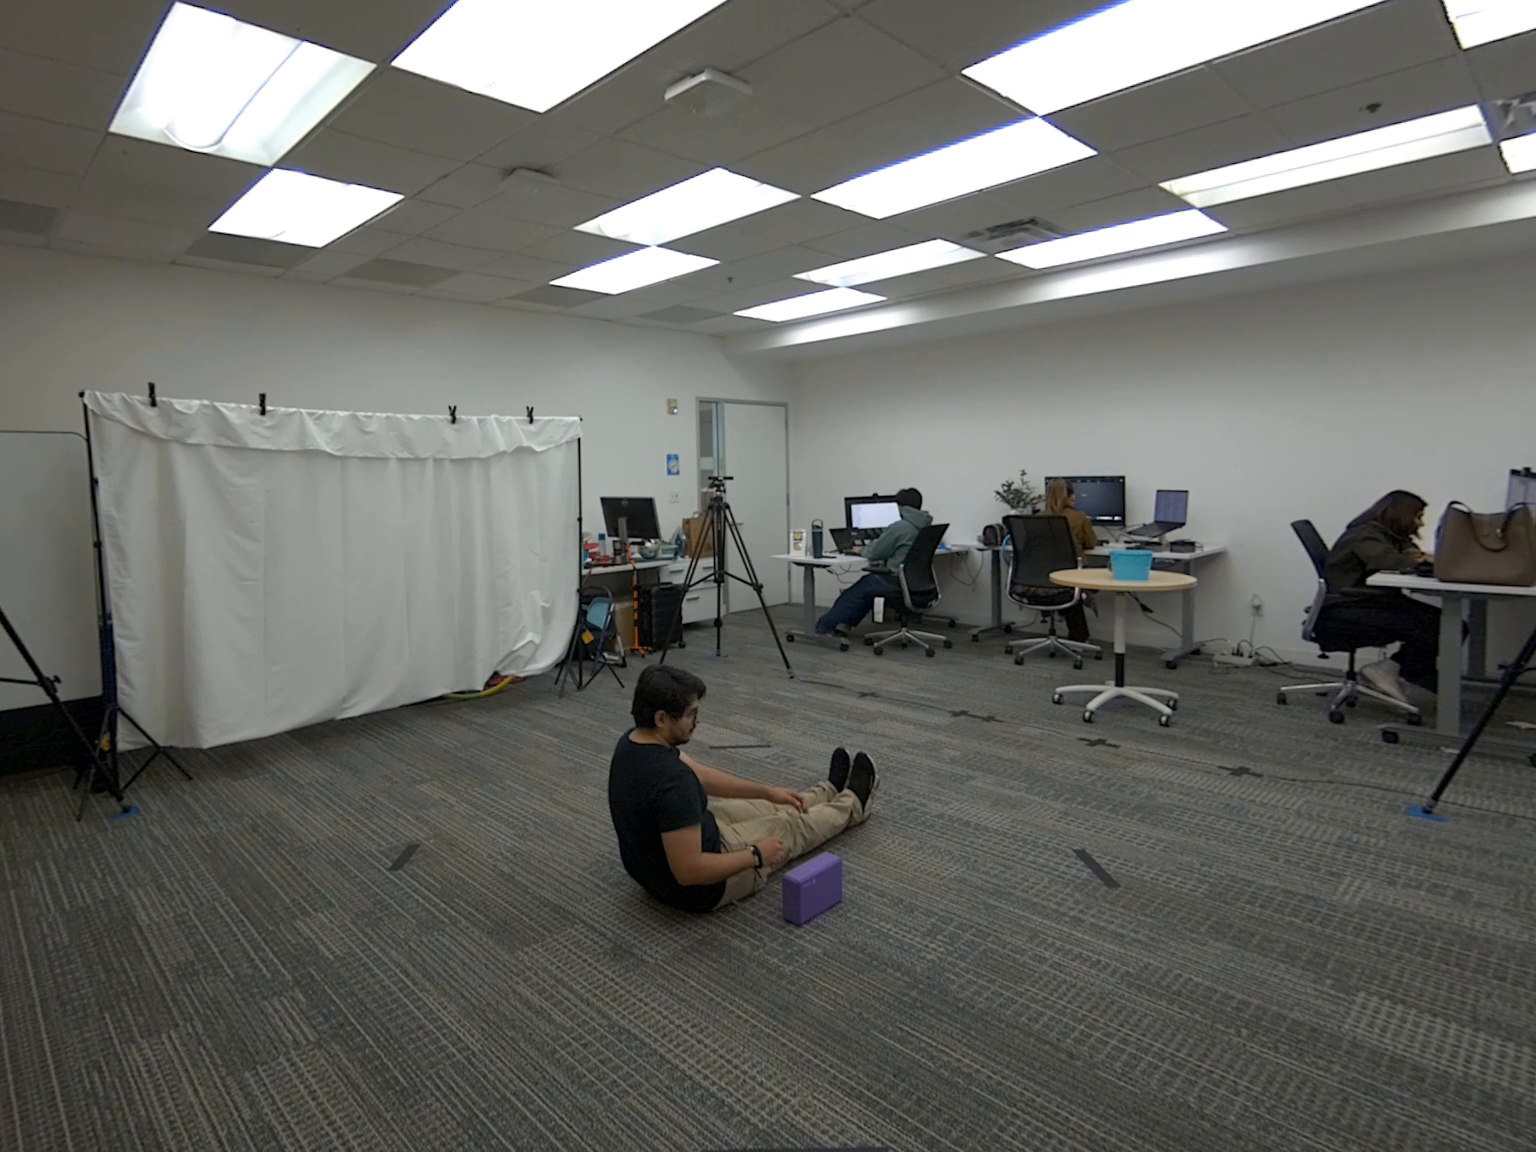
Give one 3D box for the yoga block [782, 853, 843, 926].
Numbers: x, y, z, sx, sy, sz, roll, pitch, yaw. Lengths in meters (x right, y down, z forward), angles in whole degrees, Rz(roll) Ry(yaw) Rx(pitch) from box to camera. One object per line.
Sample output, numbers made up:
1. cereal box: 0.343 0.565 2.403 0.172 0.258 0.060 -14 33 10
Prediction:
1. yoga block: 0.143 0.995 2.742 0.079 0.148 0.223 5 8 43
